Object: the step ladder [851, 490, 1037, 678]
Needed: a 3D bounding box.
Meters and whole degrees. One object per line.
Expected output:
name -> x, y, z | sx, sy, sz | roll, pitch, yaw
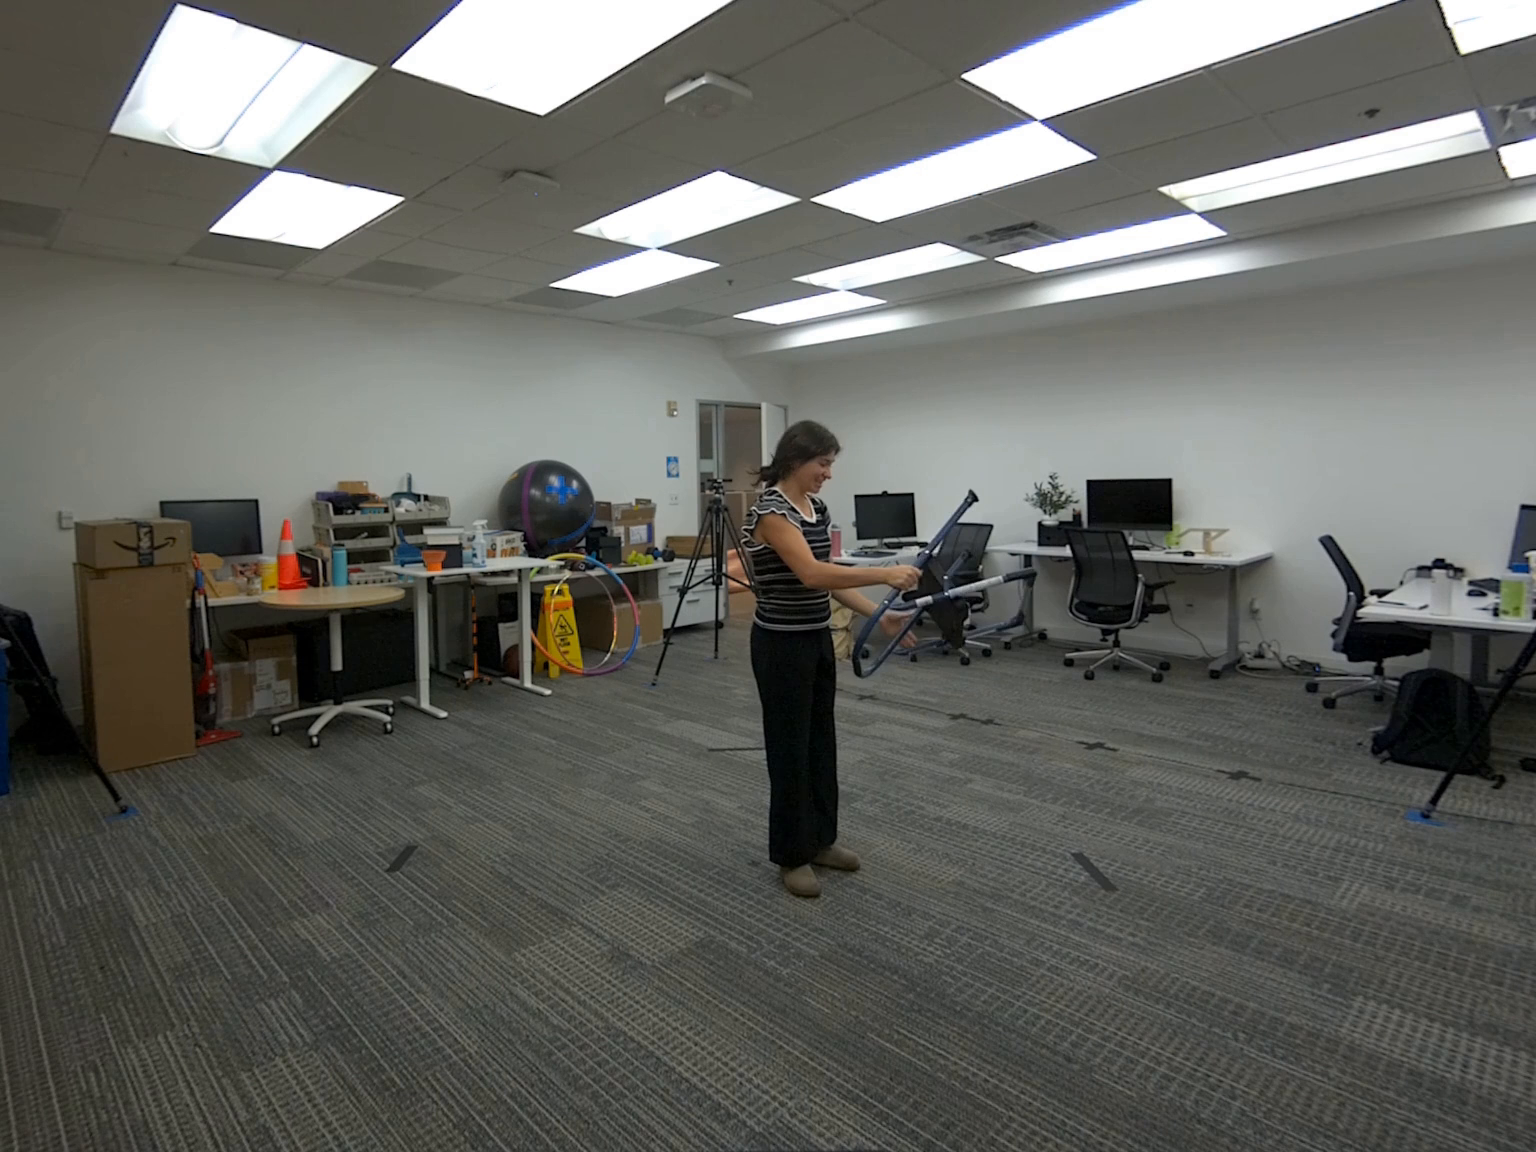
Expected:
step ladder -> 0.507, 0.104, 2.822 | 0.605, 0.361, 0.417 | -30, -31, -4
